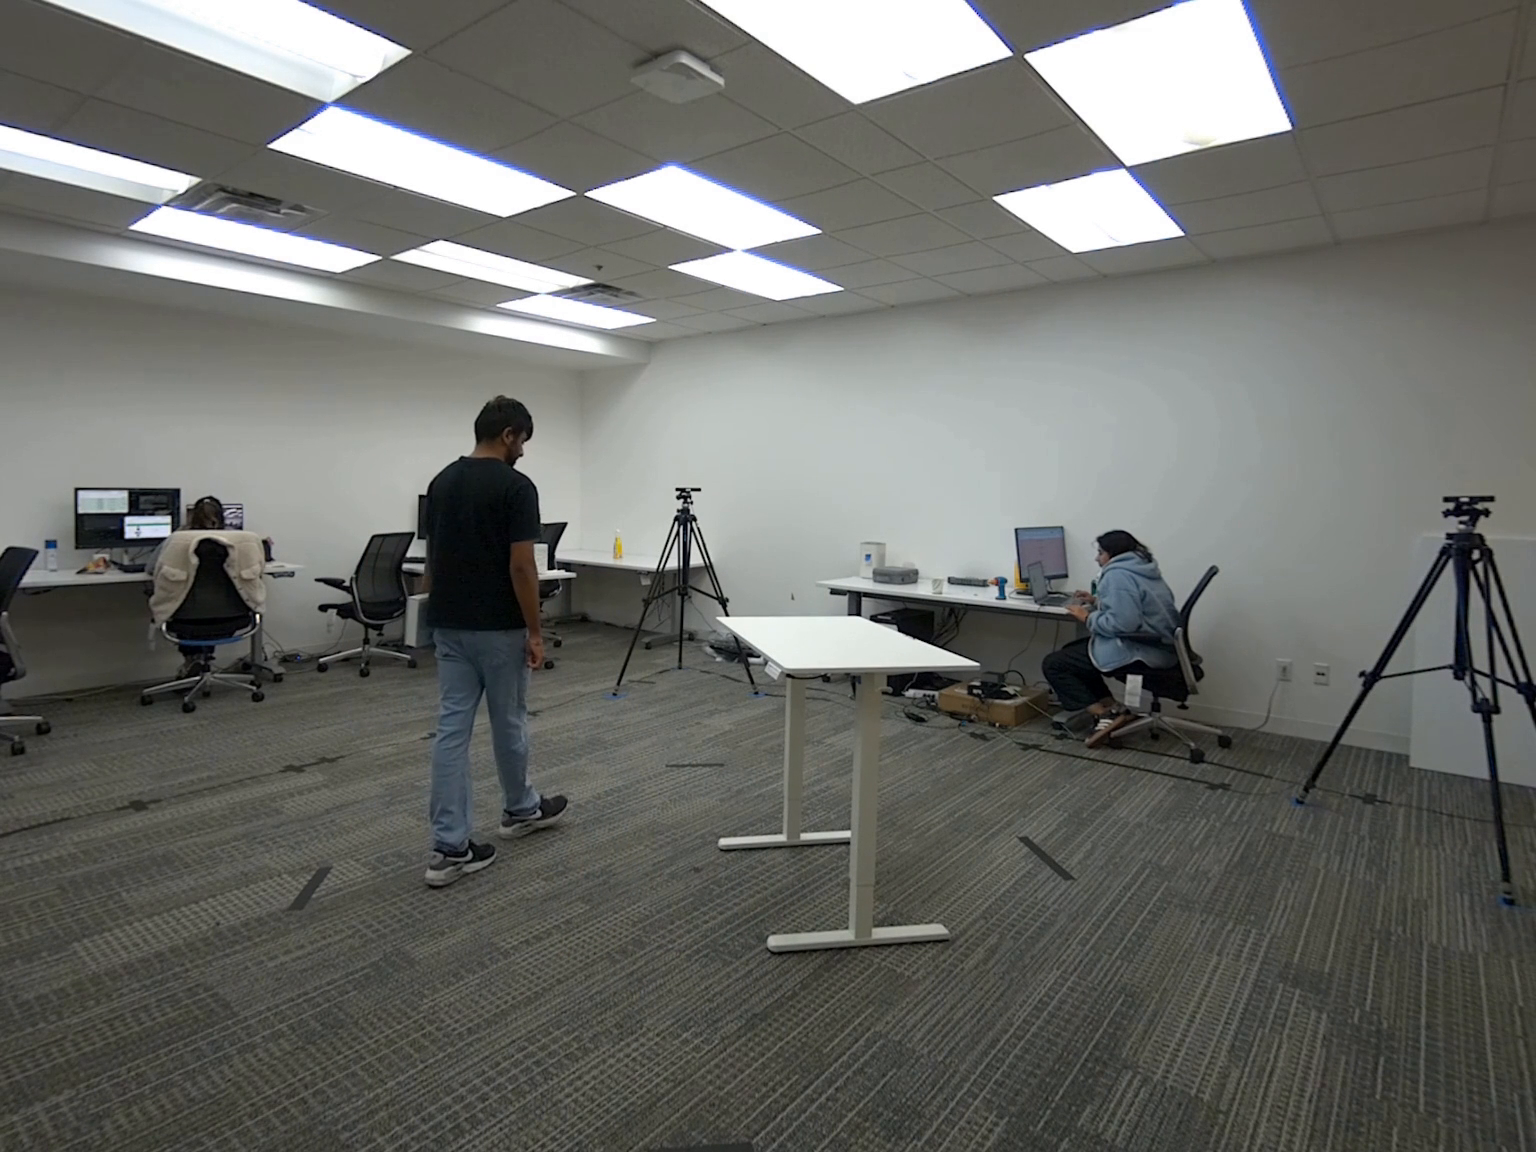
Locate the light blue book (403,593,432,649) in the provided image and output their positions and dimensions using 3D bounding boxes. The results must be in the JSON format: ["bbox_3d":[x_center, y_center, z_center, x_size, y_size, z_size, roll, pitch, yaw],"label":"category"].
[{"bbox_3d":[-1.247,0.146,3.215,0.061,0.189,0.256,13,14,24],"label":"light blue book"}]
